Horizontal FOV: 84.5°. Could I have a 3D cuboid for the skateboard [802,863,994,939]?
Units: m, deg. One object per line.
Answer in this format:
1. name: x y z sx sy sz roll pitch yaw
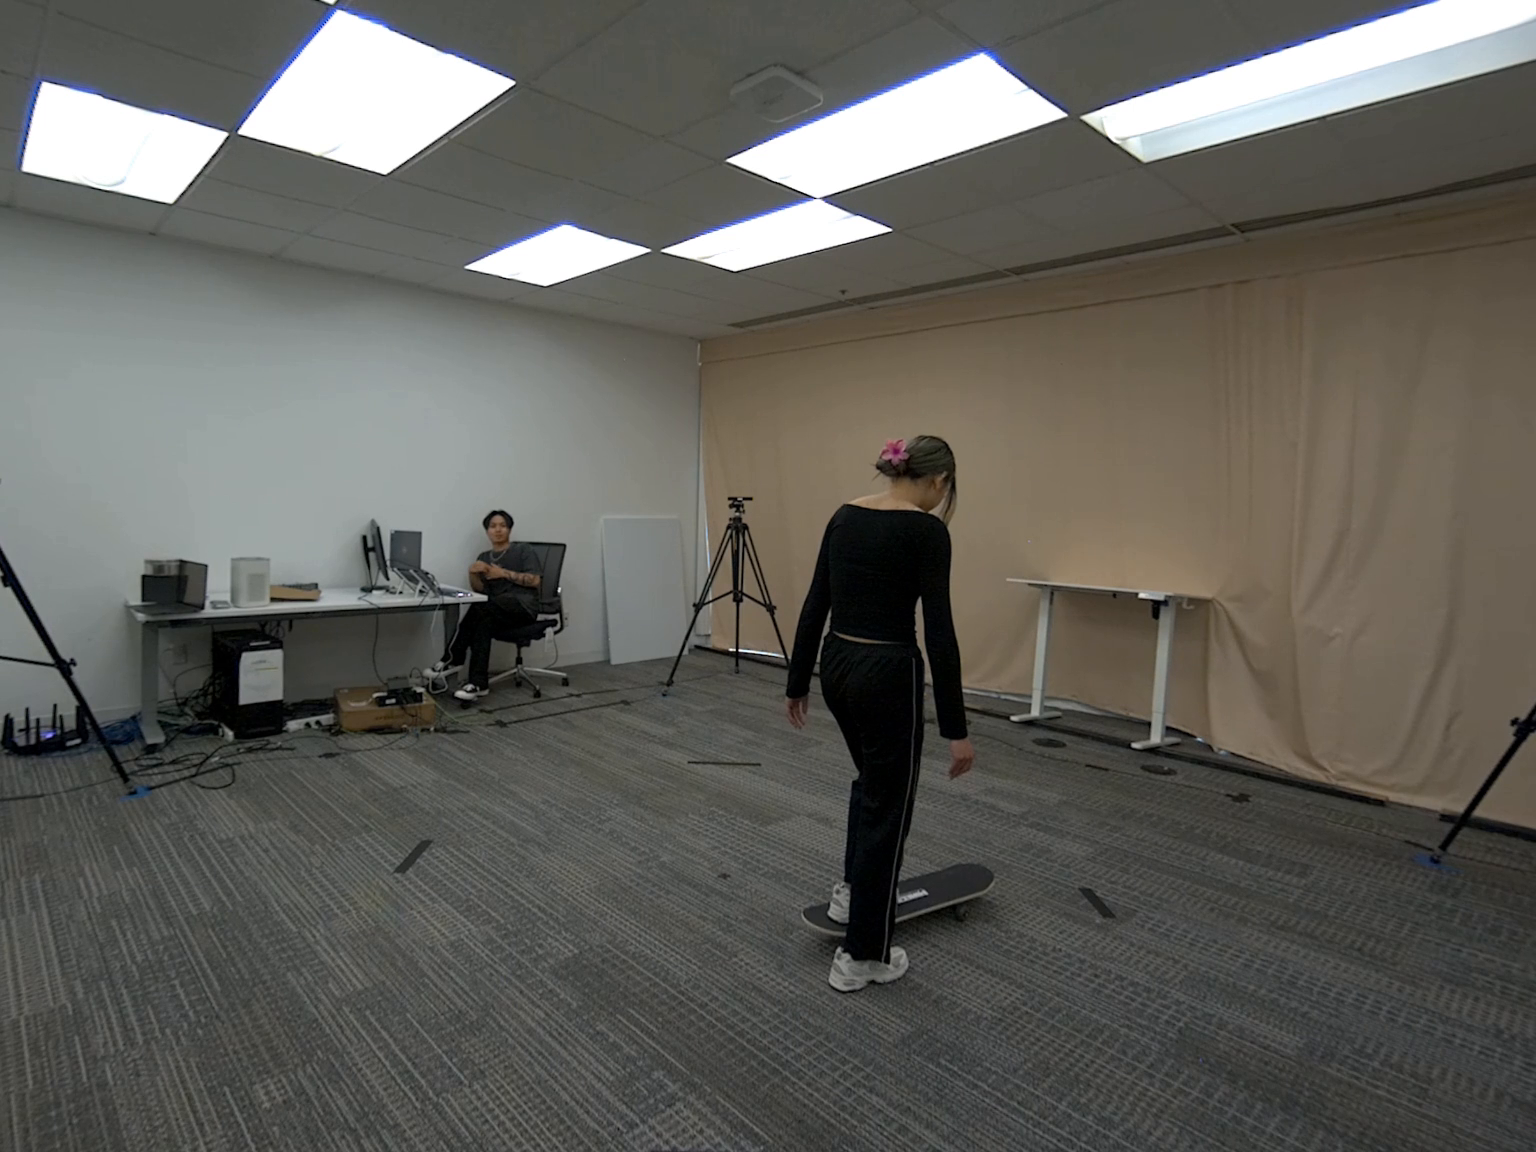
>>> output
1. skateboard: 0.445 1.094 2.779 0.769 0.110 0.198 -2 7 -33
